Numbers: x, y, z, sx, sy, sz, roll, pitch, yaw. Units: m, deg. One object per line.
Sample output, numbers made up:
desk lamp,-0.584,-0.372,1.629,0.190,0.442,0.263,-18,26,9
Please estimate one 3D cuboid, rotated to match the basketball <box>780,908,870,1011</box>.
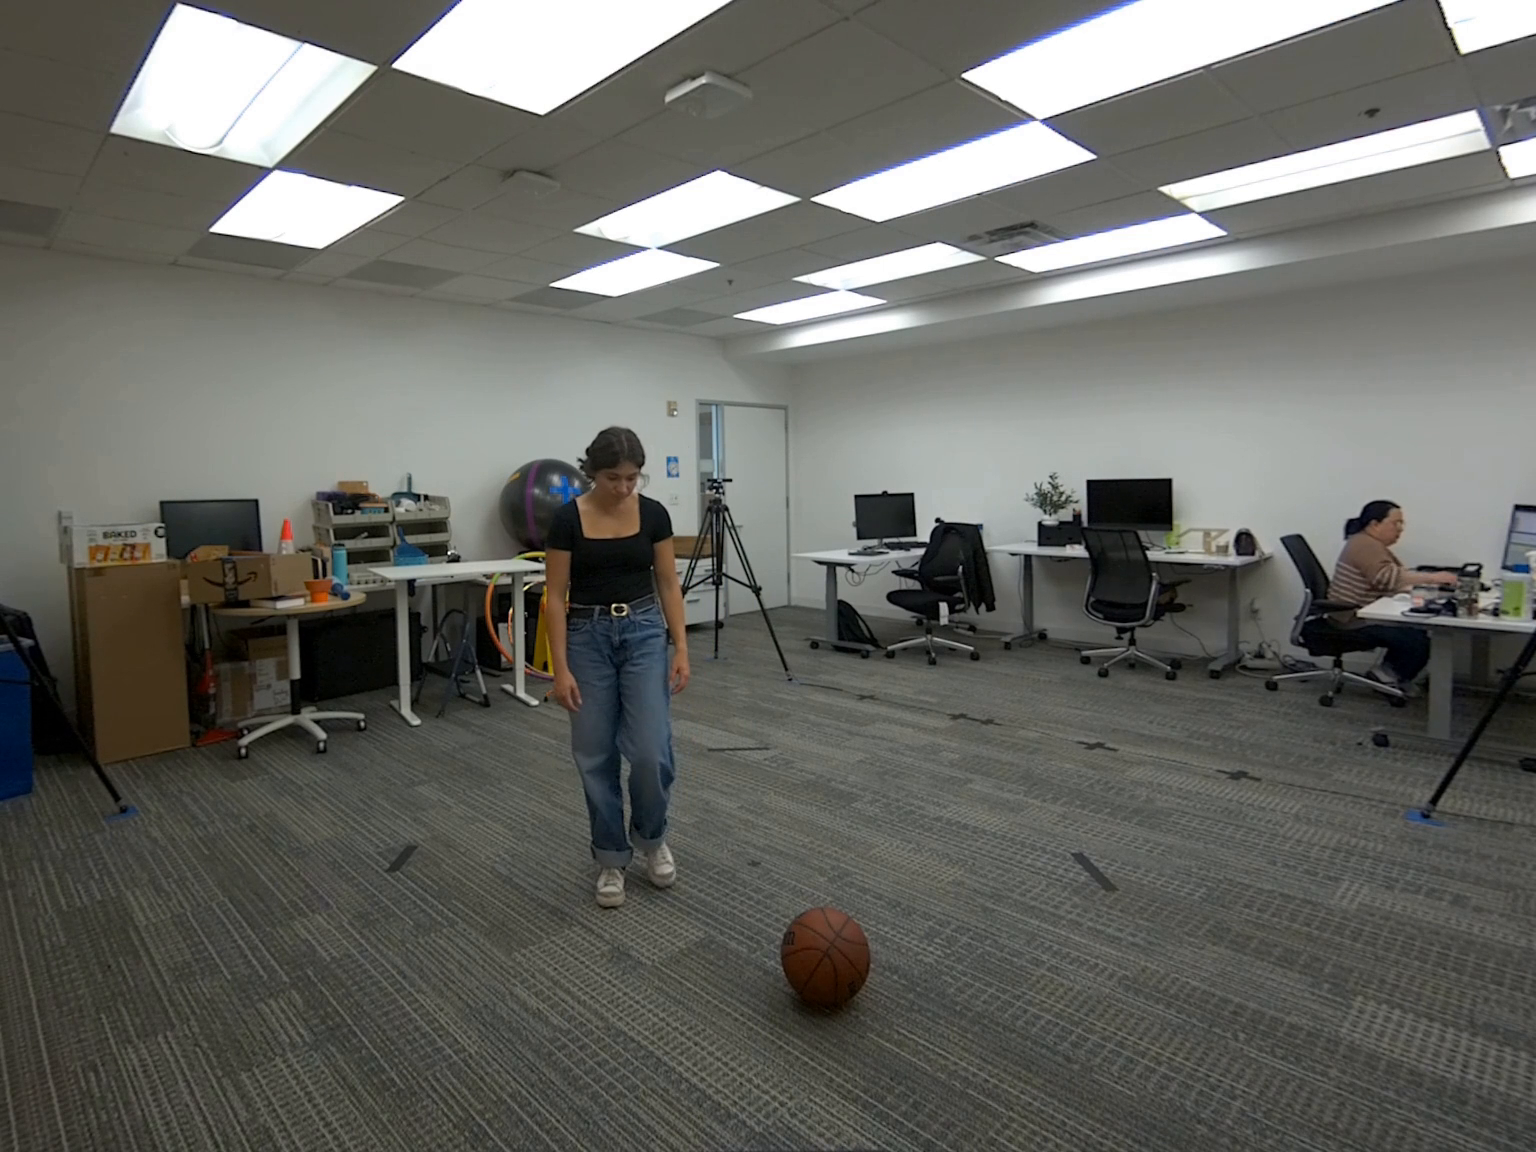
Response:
basketball,0.161,1.014,2.286,0.236,0.235,0.237,-1,5,-2
